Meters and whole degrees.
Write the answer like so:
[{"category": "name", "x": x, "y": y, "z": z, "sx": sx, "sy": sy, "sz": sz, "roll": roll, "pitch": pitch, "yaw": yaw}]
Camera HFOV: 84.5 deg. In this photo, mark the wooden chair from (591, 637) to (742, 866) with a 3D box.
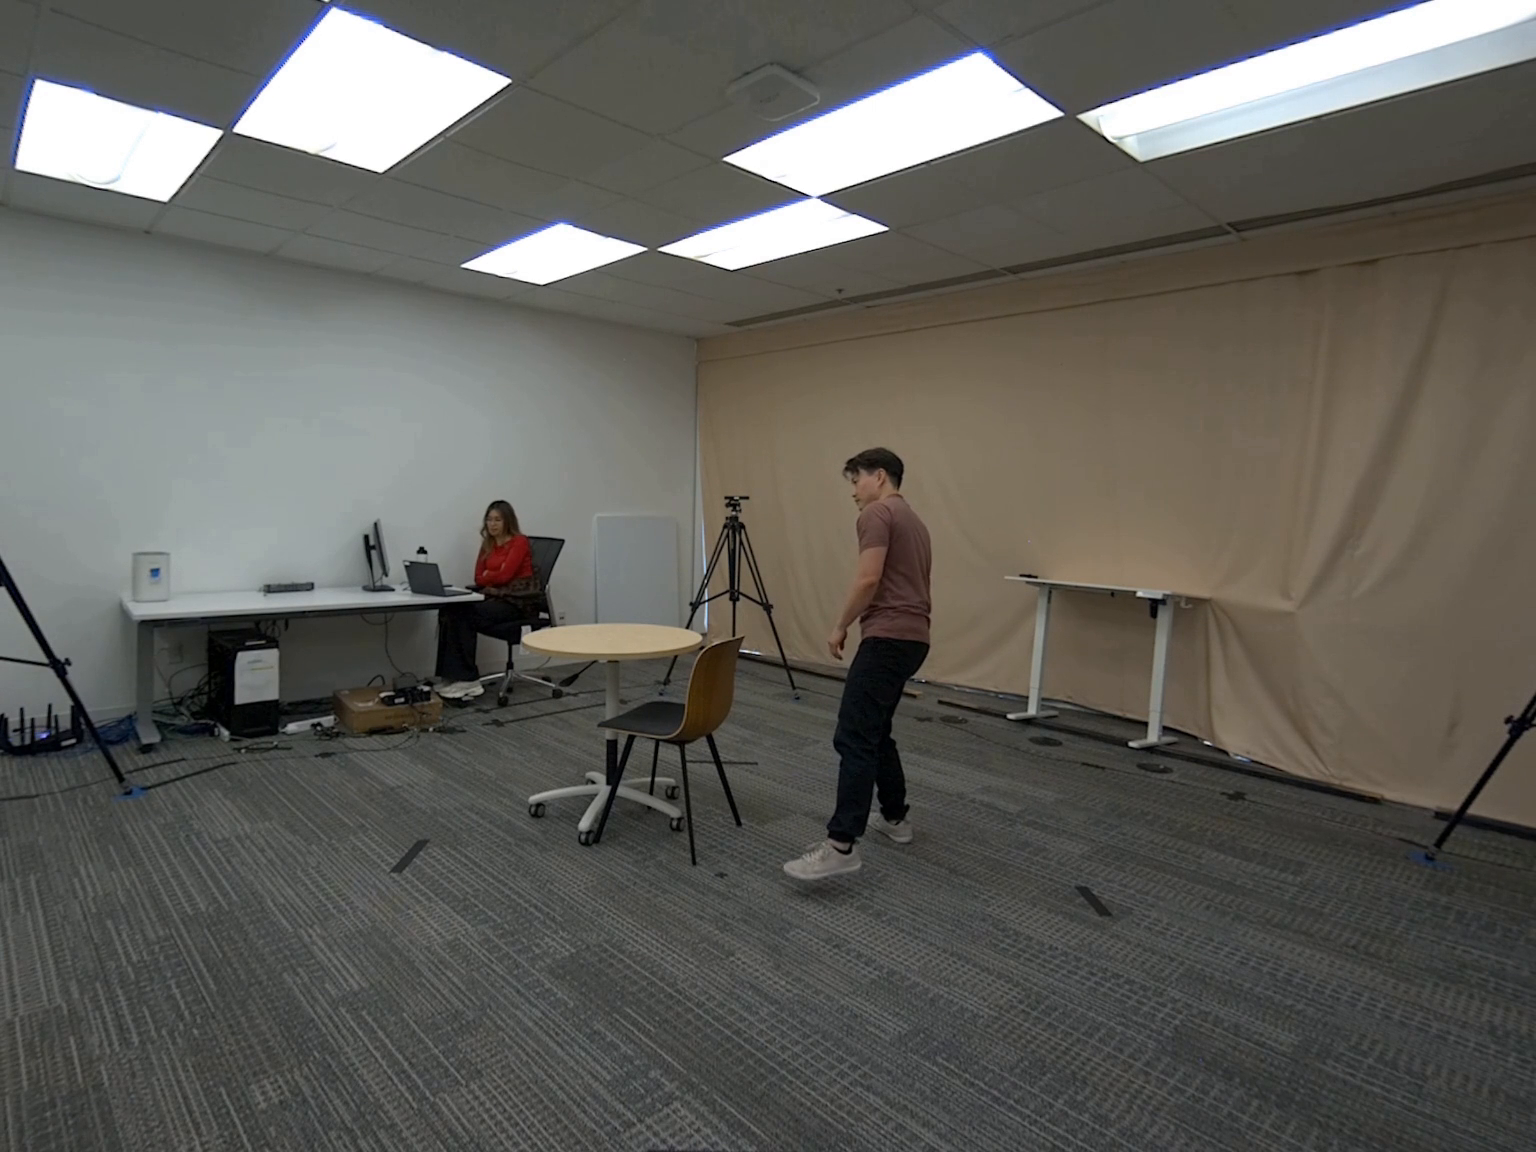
[{"category": "wooden chair", "x": -0.402, "y": 0.640, "z": 3.432, "sx": 0.533, "sy": 0.874, "sz": 0.470, "roll": 7, "pitch": 6, "yaw": 23}]
